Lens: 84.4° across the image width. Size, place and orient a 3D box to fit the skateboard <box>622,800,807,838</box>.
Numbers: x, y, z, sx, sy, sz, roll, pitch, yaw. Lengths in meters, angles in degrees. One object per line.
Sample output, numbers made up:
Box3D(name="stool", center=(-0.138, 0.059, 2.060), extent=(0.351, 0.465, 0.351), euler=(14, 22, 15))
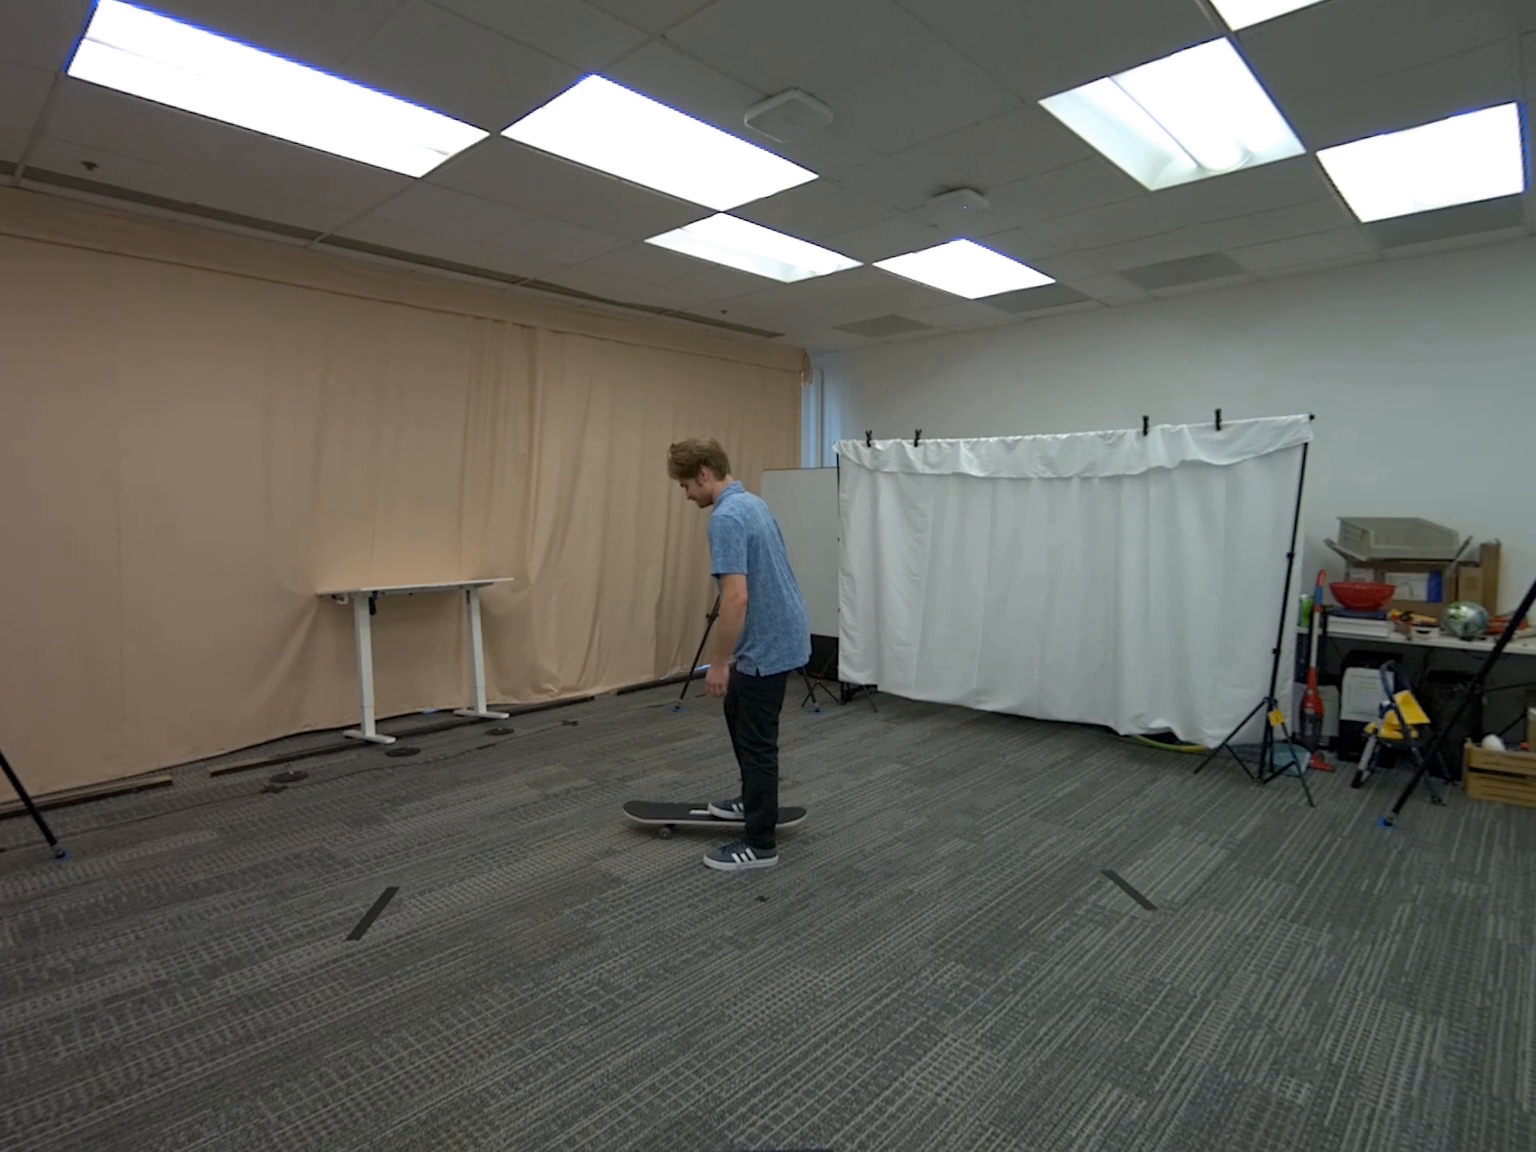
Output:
Box3D(name="skateboard", center=(-0.229, 1.036, 3.573), extent=(0.790, 0.110, 0.193), euler=(0, 6, 5))
